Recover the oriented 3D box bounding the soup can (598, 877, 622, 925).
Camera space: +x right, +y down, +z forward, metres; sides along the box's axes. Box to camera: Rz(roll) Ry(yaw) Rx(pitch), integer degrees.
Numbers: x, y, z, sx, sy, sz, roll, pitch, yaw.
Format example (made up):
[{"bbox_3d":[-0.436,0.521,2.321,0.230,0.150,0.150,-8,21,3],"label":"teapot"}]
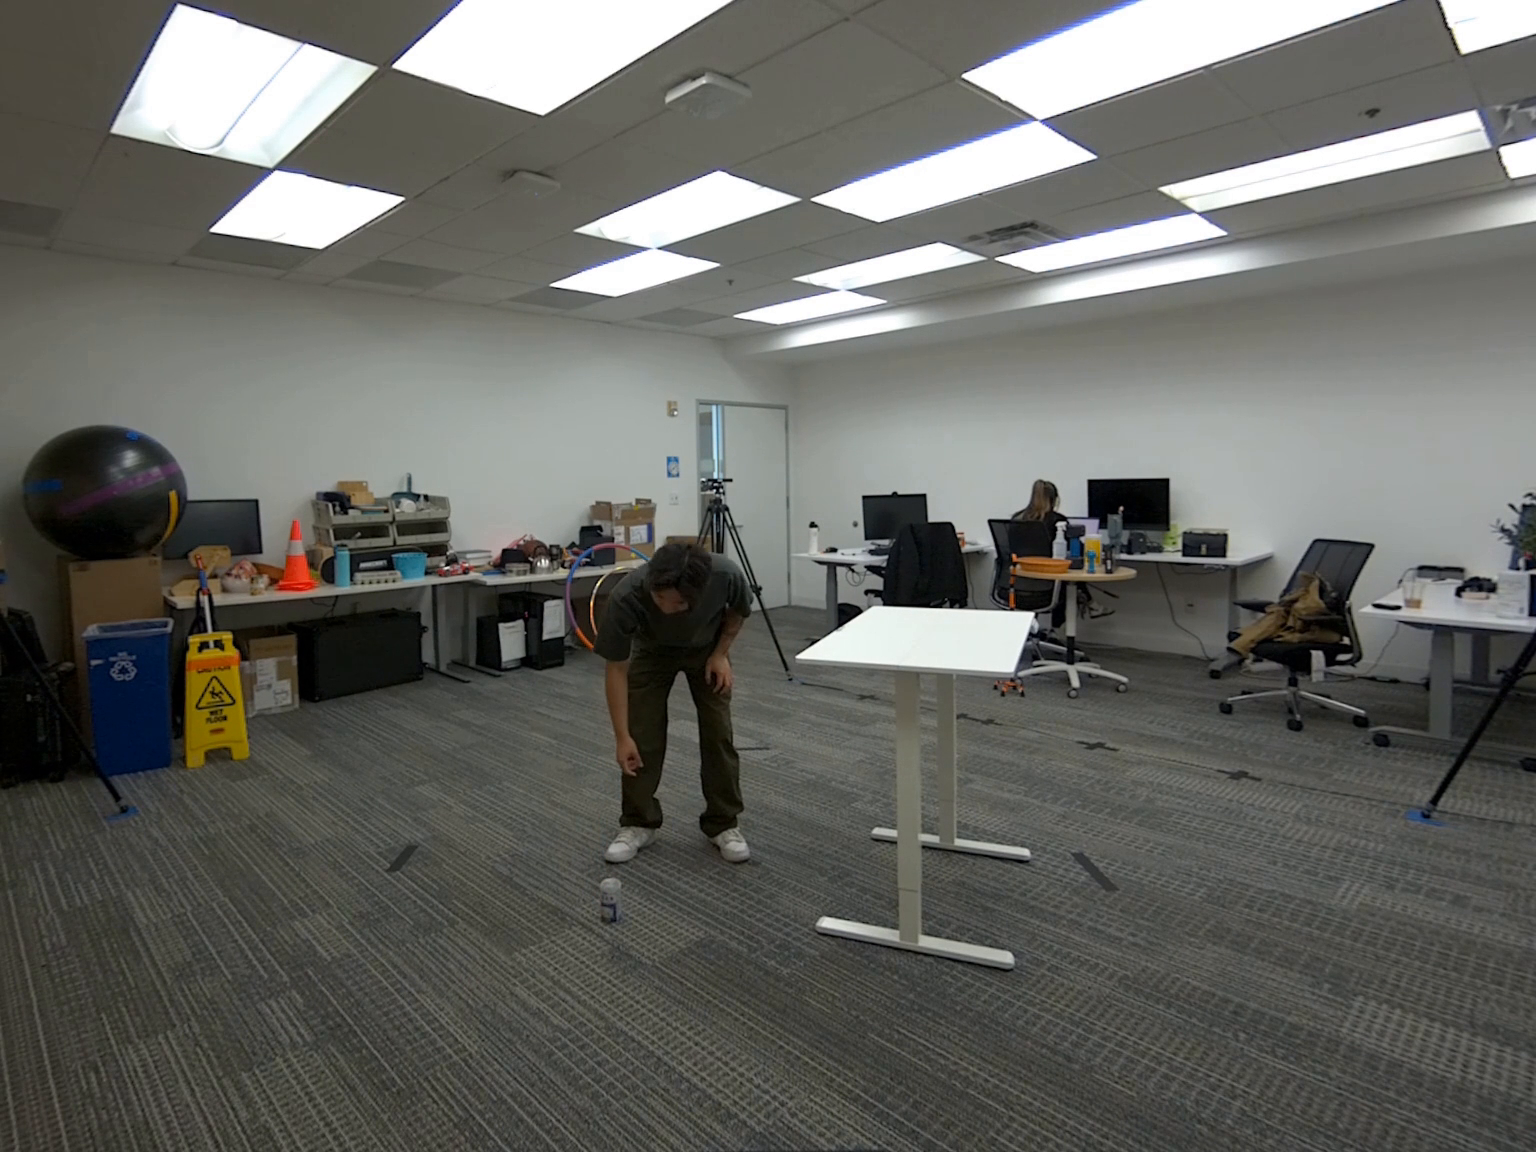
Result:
[{"bbox_3d":[-0.505,1.048,2.729,0.067,0.120,0.068,-5,8,-1],"label":"soup can"}]
